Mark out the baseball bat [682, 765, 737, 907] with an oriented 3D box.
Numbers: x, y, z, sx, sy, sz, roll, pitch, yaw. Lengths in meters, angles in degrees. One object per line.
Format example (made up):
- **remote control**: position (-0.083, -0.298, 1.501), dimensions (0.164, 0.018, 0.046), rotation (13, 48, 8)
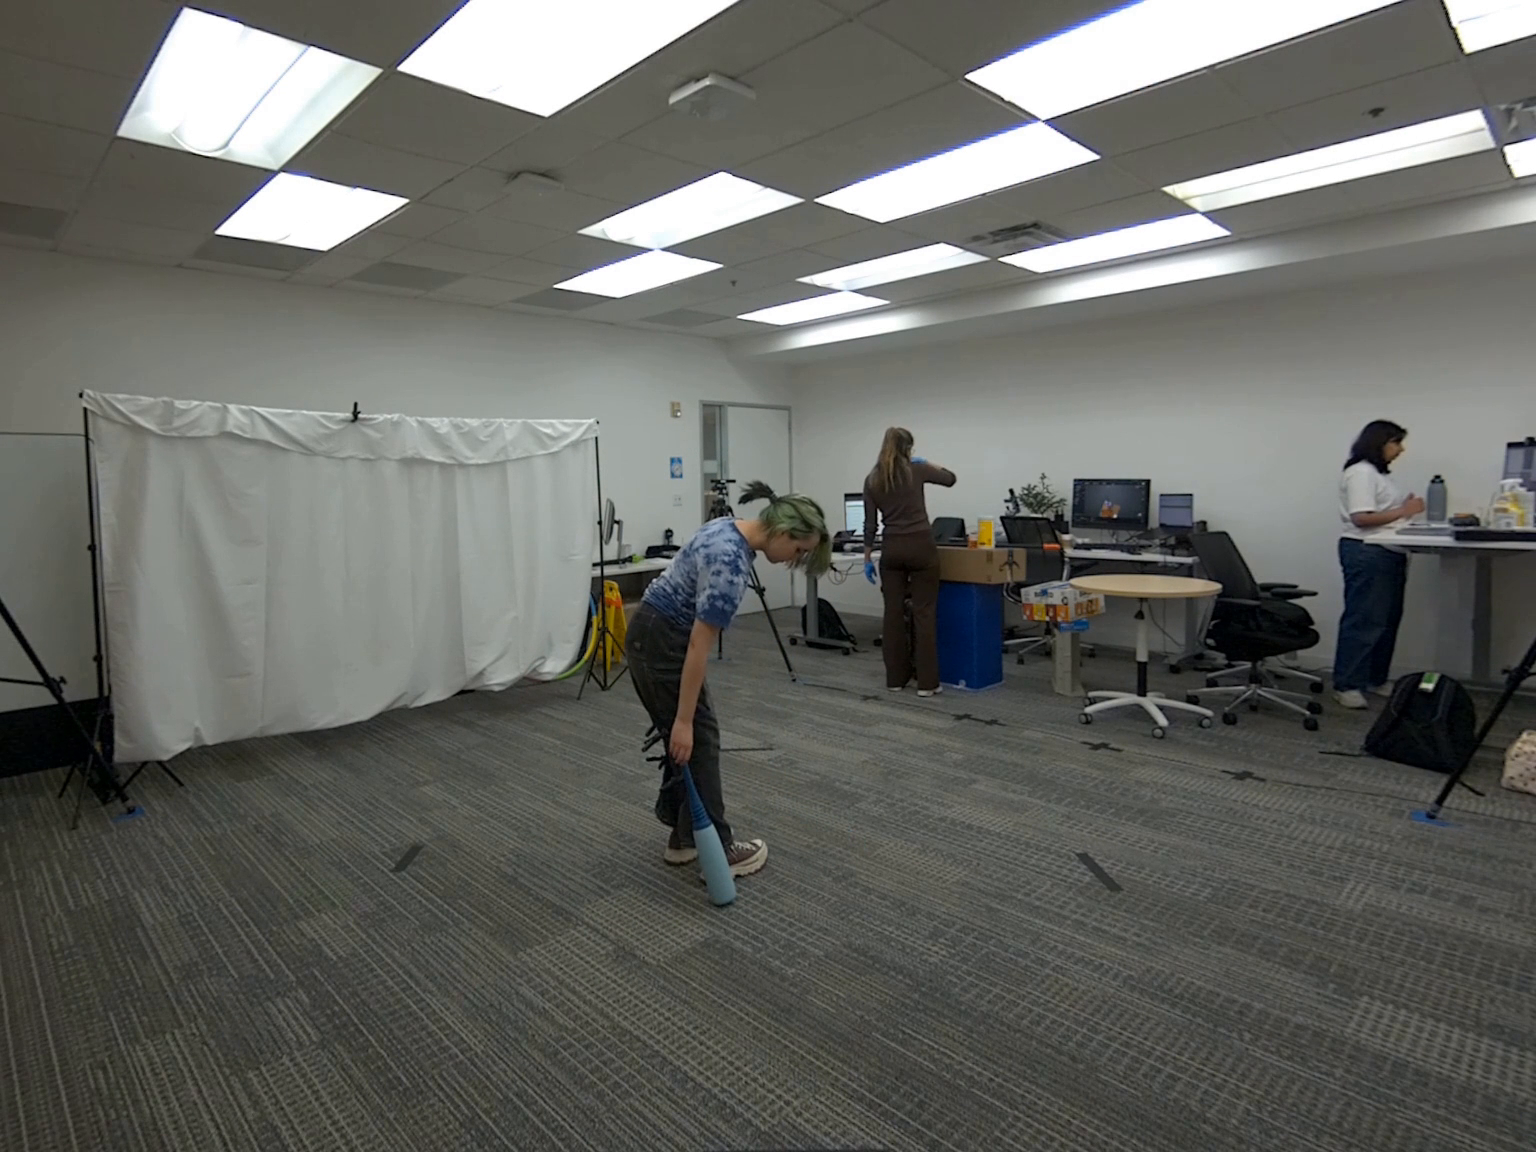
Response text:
- **baseball bat**: position (-0.224, 0.824, 2.844), dimensions (0.089, 0.545, 0.089), rotation (-17, -4, -2)
